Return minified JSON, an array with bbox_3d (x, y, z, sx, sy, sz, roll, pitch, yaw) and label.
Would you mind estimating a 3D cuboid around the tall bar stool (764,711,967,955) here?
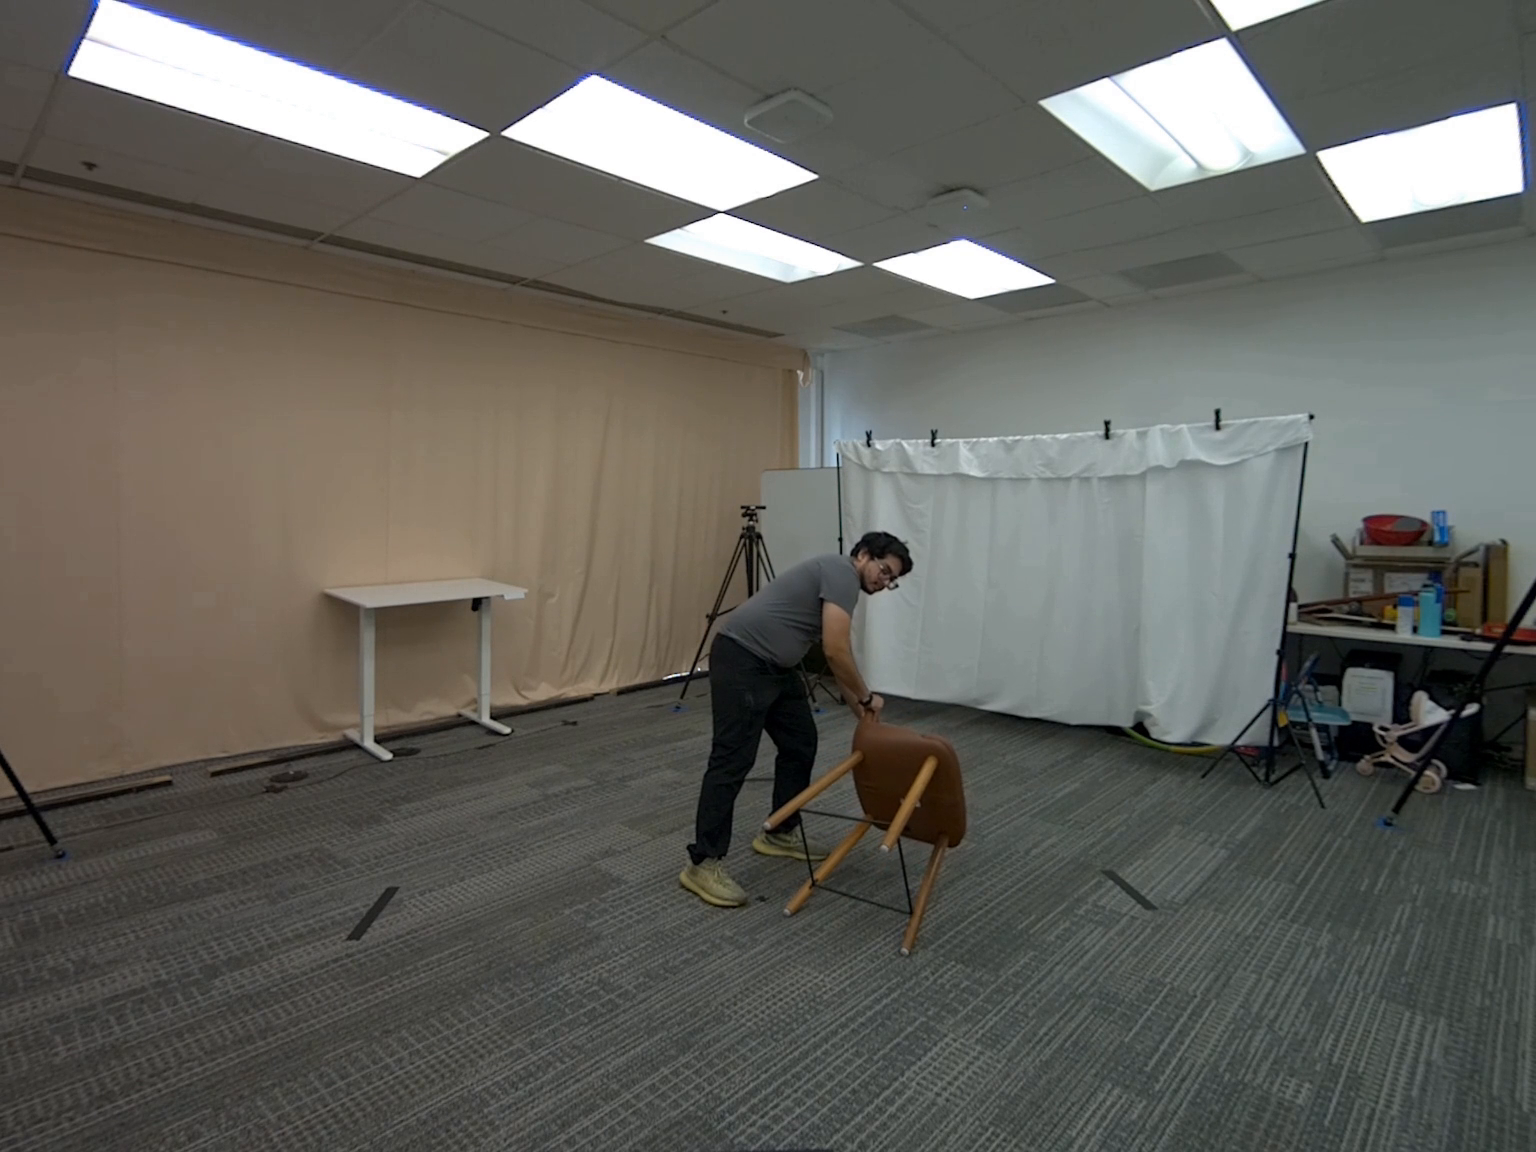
[{"bbox_3d":[0.429,0.820,3.007,0.481,0.450,0.876,-1,22,33],"label":"tall bar stool"}]
